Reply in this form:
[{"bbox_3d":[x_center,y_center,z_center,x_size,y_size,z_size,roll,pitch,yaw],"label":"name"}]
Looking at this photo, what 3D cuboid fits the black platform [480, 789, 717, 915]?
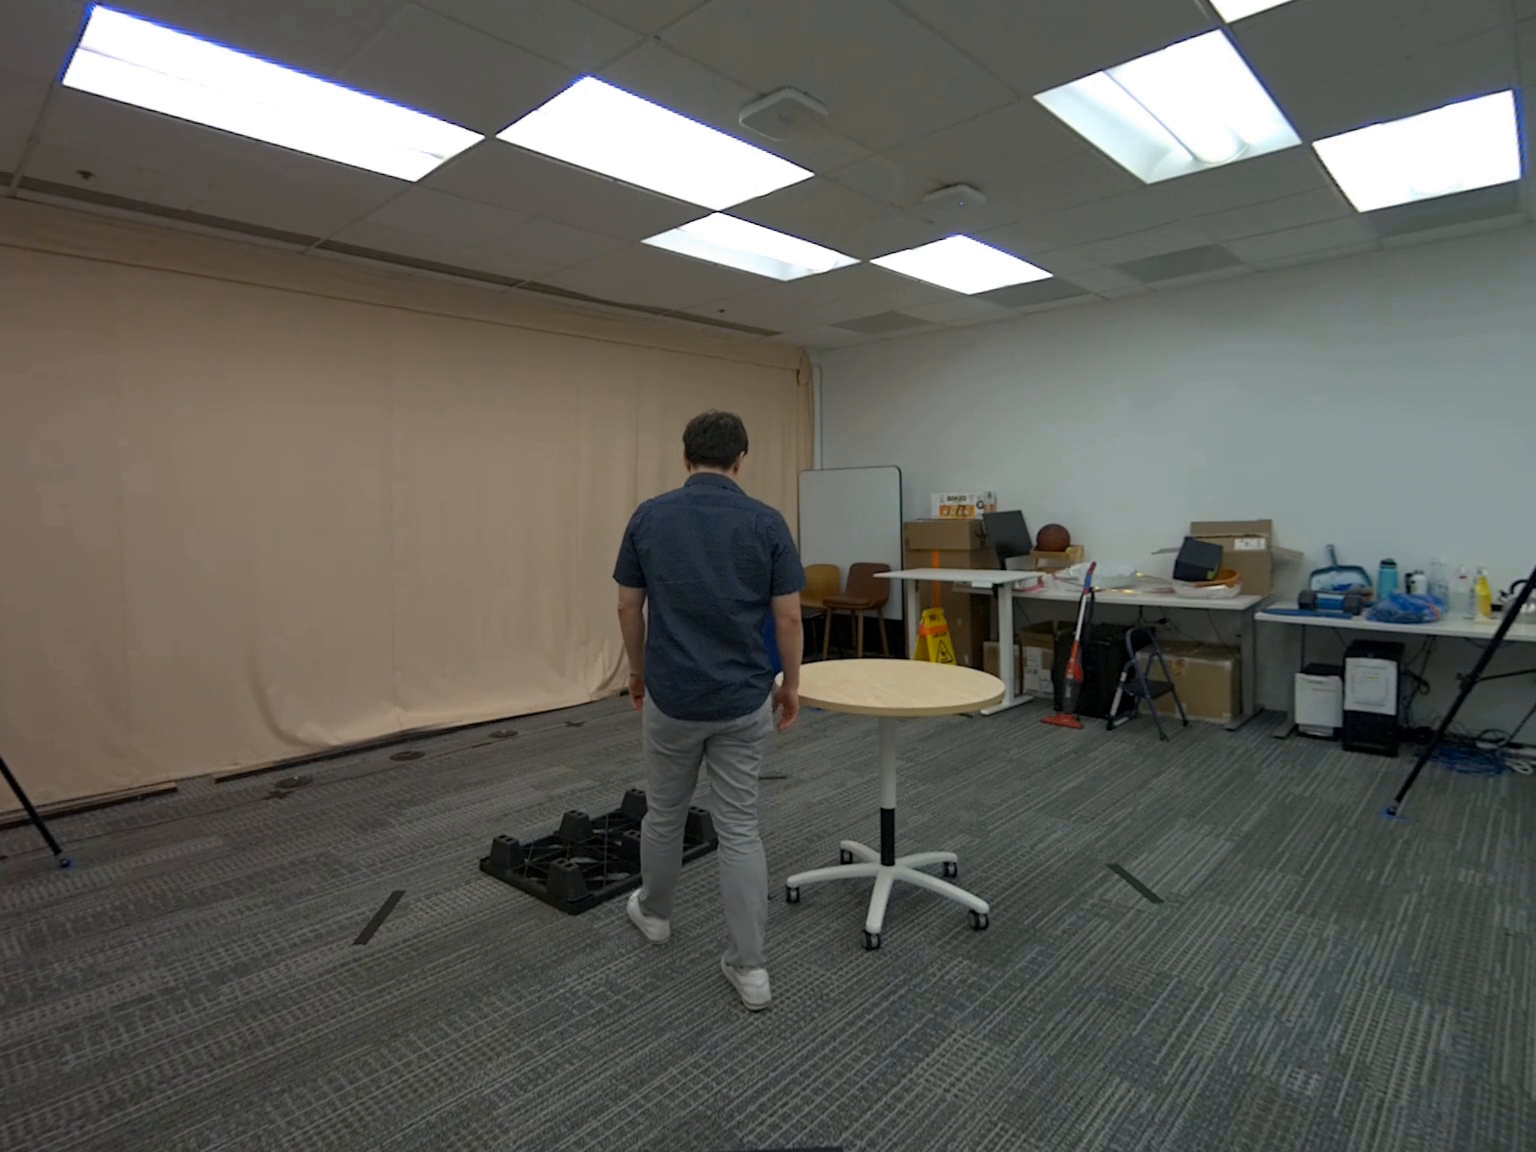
[{"bbox_3d":[-0.647,1.055,3.365,0.625,0.143,0.781,3,6,40],"label":"black platform"}]
